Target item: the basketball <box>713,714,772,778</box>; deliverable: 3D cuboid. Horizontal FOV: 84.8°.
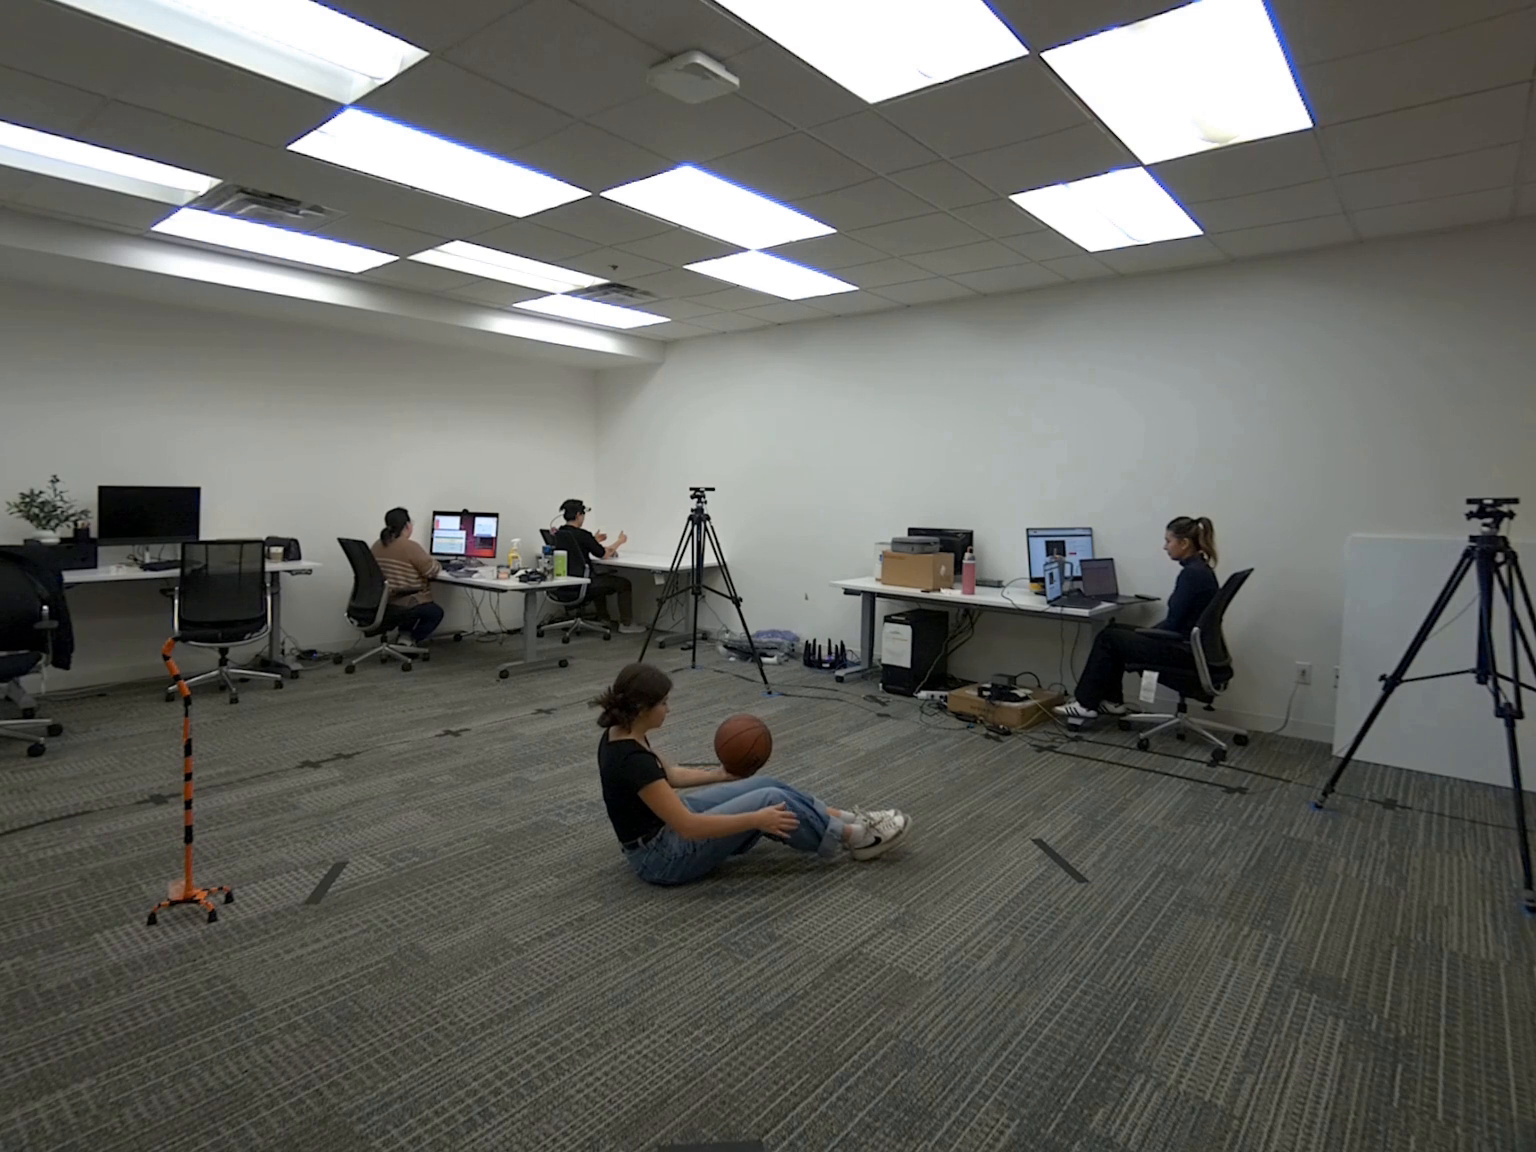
[{"bbox_3d":[-0.108,0.684,3.487,0.235,0.235,0.237,1,4,-2],"label":"basketball"}]
